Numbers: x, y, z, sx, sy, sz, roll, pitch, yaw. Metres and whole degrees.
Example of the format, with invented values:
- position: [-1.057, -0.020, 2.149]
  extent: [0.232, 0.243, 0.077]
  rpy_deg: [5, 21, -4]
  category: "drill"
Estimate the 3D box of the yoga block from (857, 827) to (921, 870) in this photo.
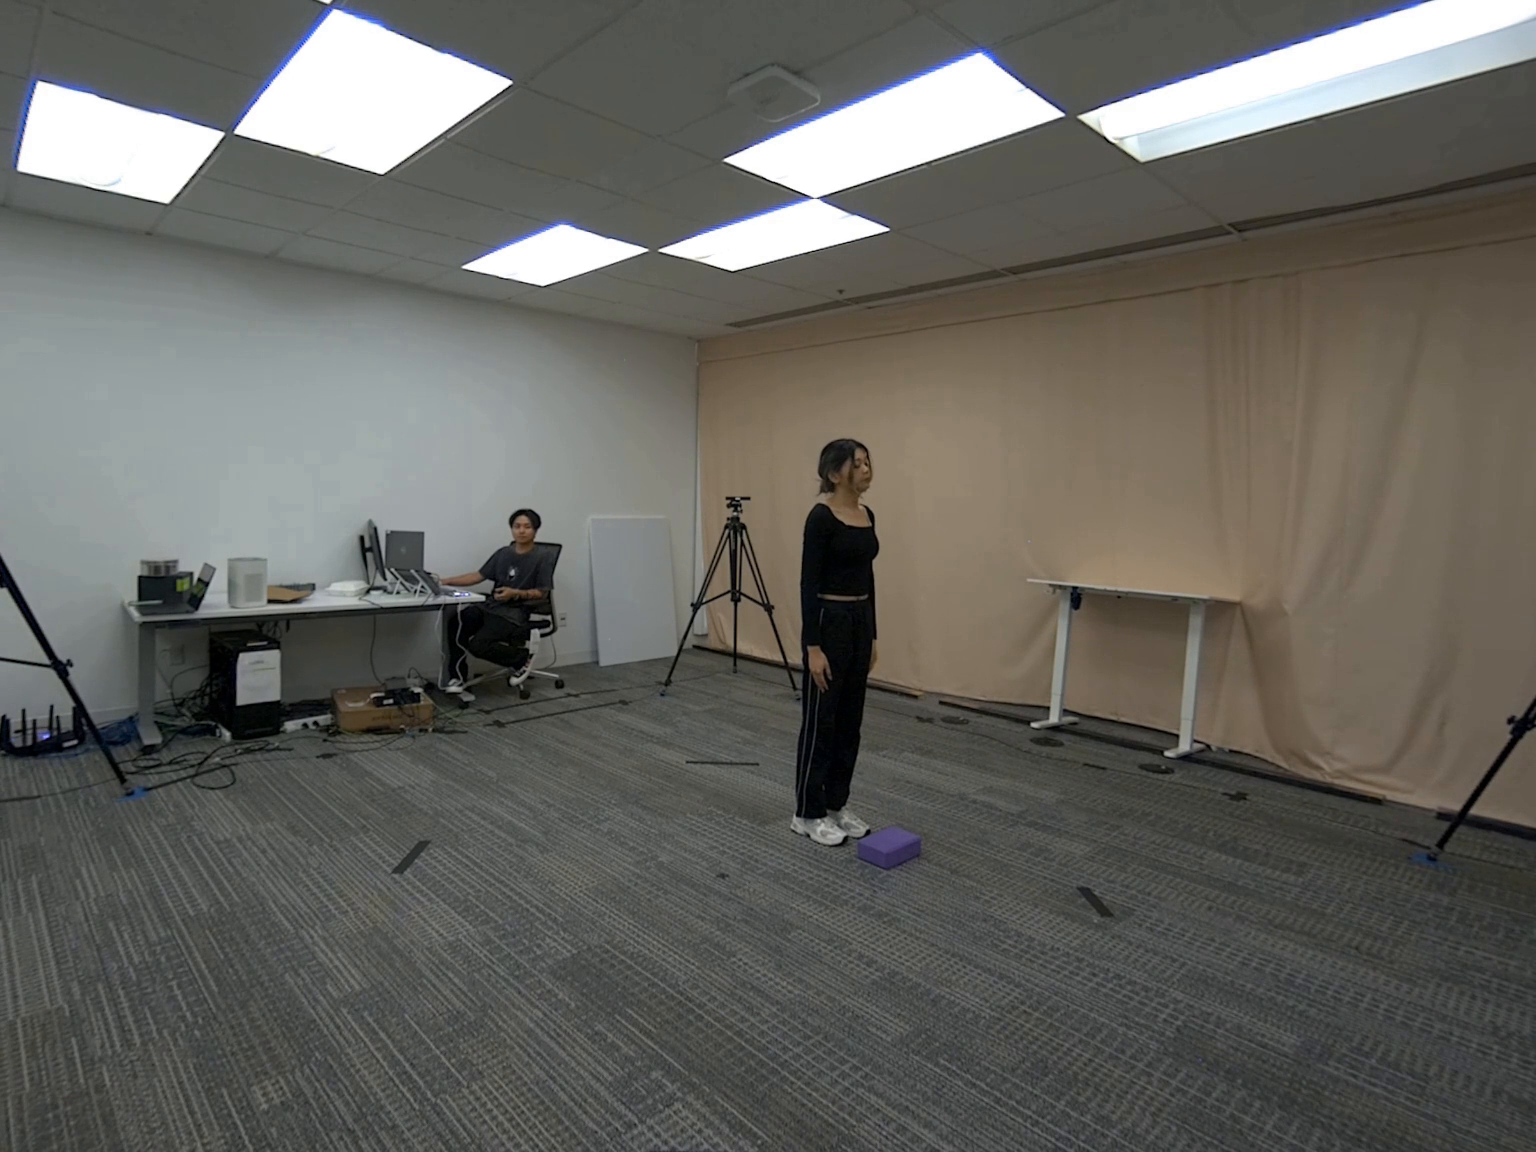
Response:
- position: [0.469, 1.062, 3.306]
  extent: [0.224, 0.076, 0.153]
  rpy_deg: [-3, 8, -43]
  category: "yoga block"
